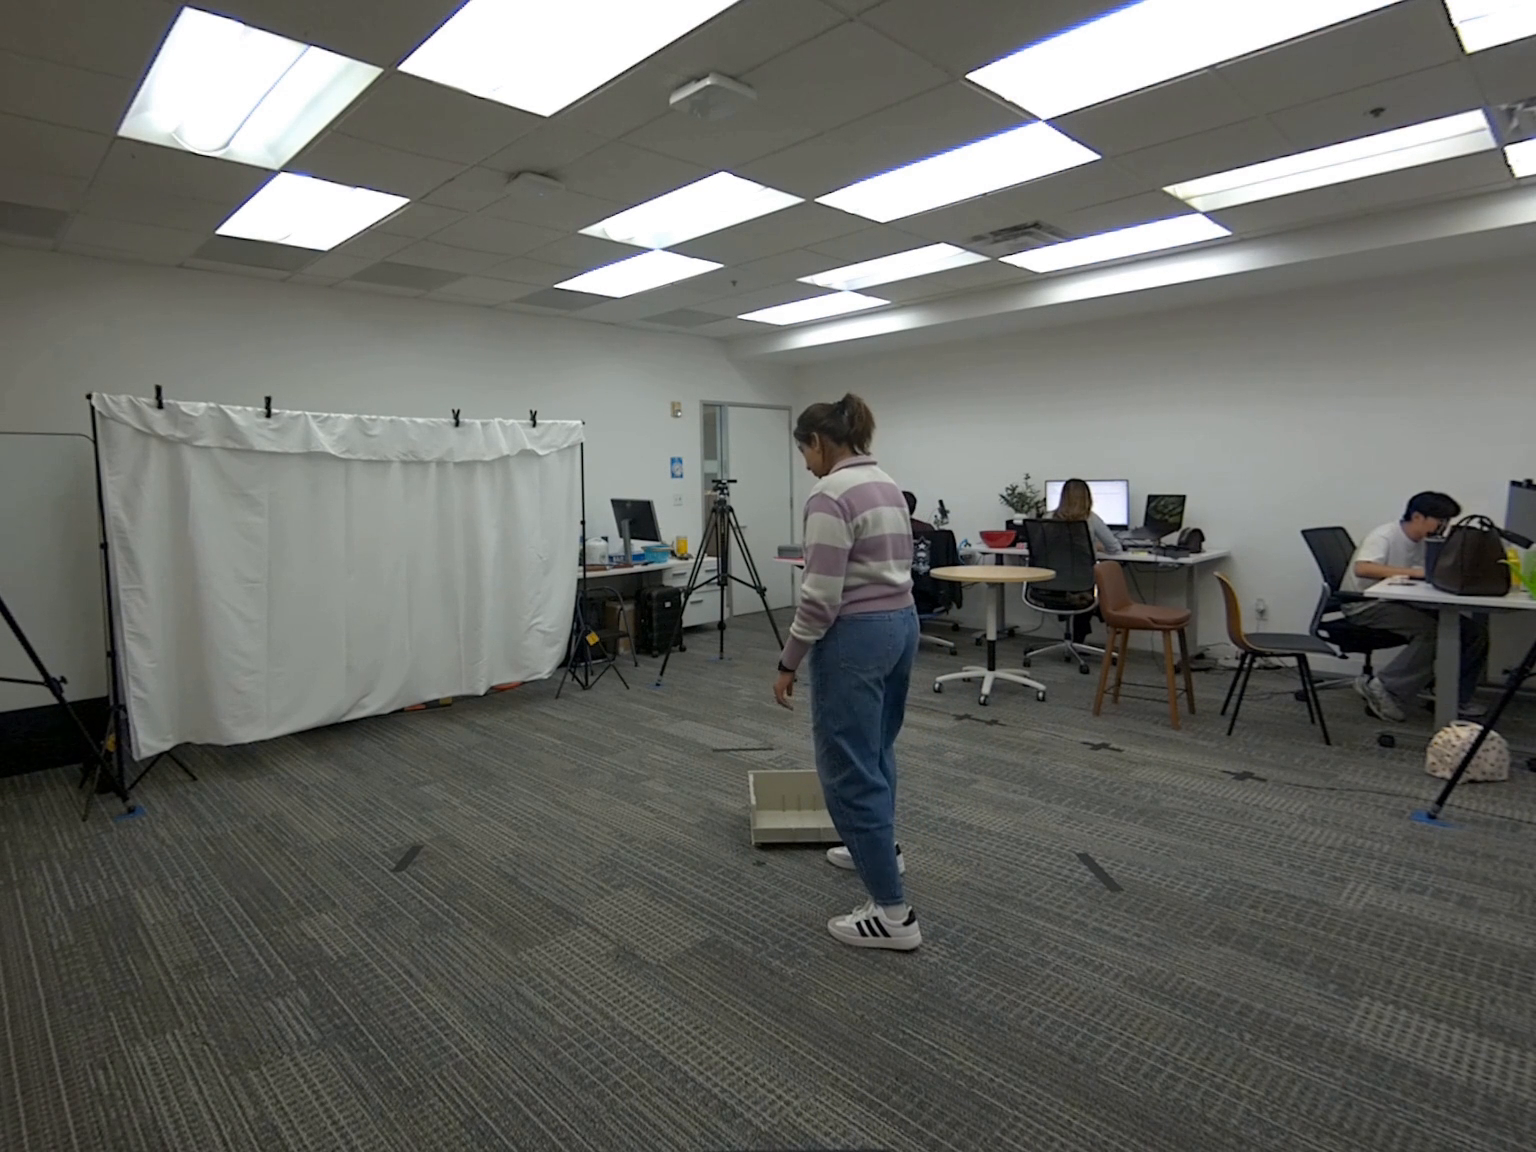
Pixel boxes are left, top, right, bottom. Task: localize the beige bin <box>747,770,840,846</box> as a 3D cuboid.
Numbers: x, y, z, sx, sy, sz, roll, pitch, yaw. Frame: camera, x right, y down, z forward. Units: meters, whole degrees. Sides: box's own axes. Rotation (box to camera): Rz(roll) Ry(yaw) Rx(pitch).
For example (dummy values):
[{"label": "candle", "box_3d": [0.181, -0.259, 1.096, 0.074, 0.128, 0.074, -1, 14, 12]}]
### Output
[{"label": "beige bin", "box_3d": [0.143, 0.926, 3.392, 0.422, 0.188, 0.379, -1, 5, -1]}]
